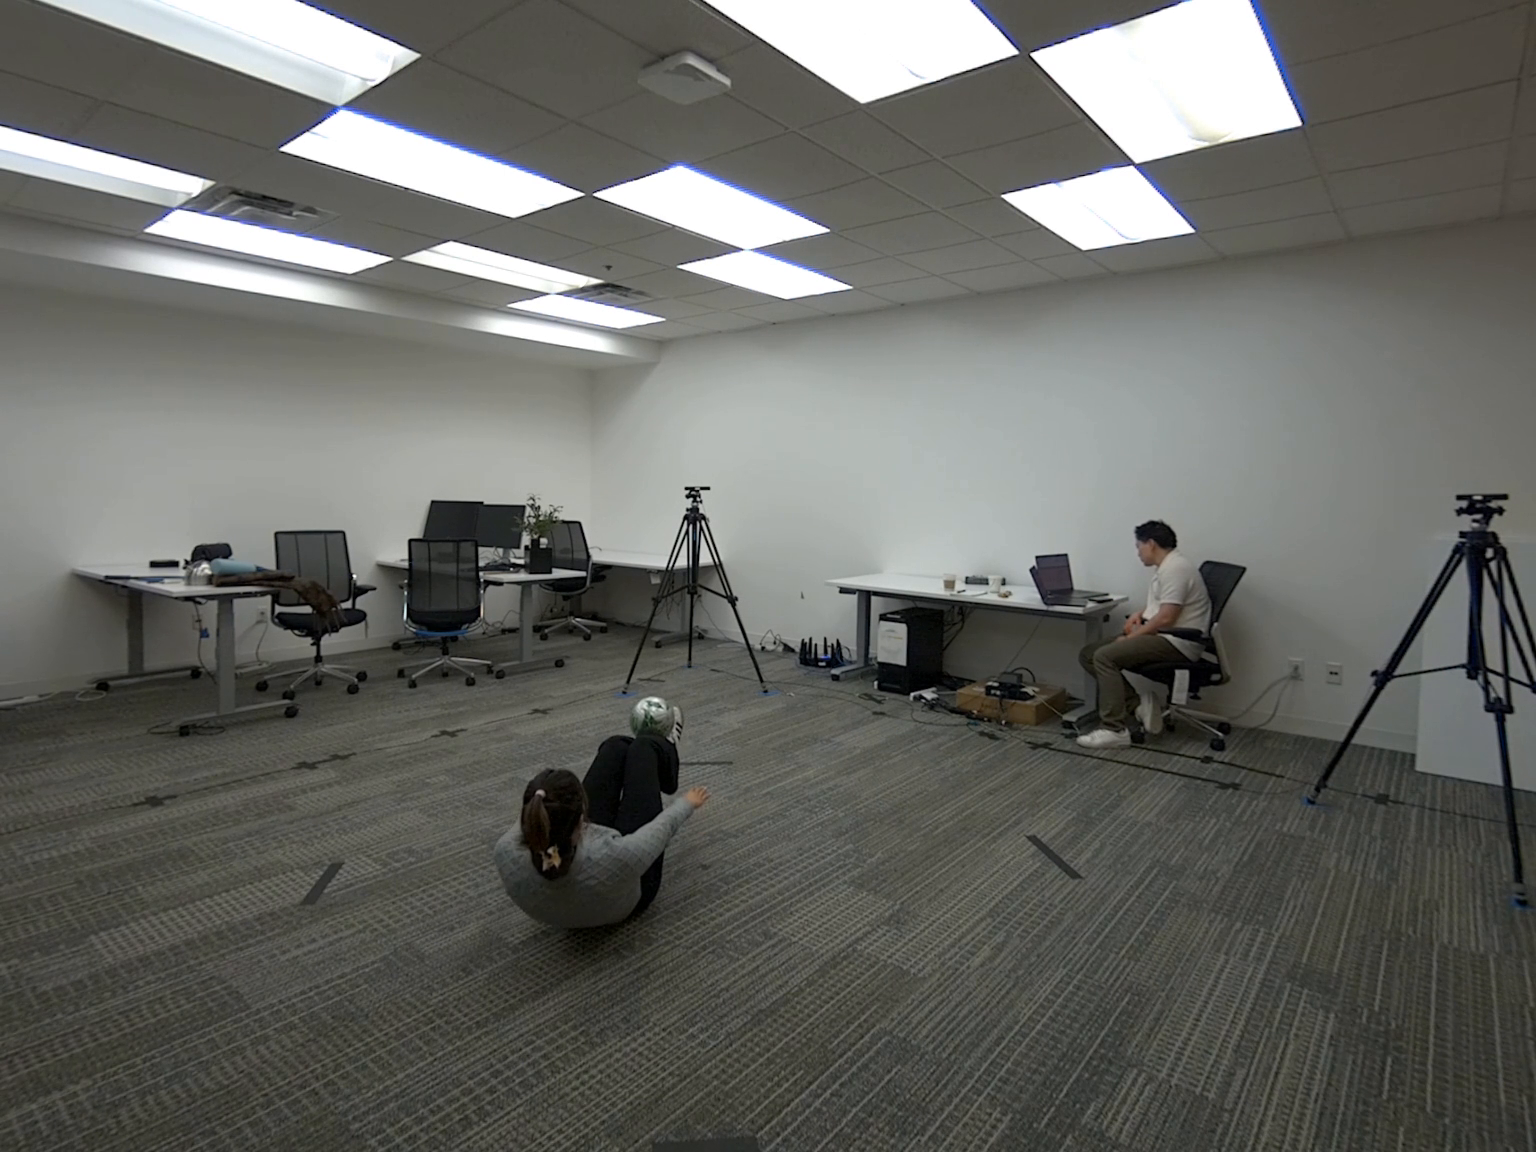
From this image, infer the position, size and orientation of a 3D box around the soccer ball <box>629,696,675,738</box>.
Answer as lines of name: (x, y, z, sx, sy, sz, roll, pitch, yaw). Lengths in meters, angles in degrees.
soccer ball: (-0.482, 0.581, 3.450, 0.187, 0.187, 0.188, 0, 4, -2)
